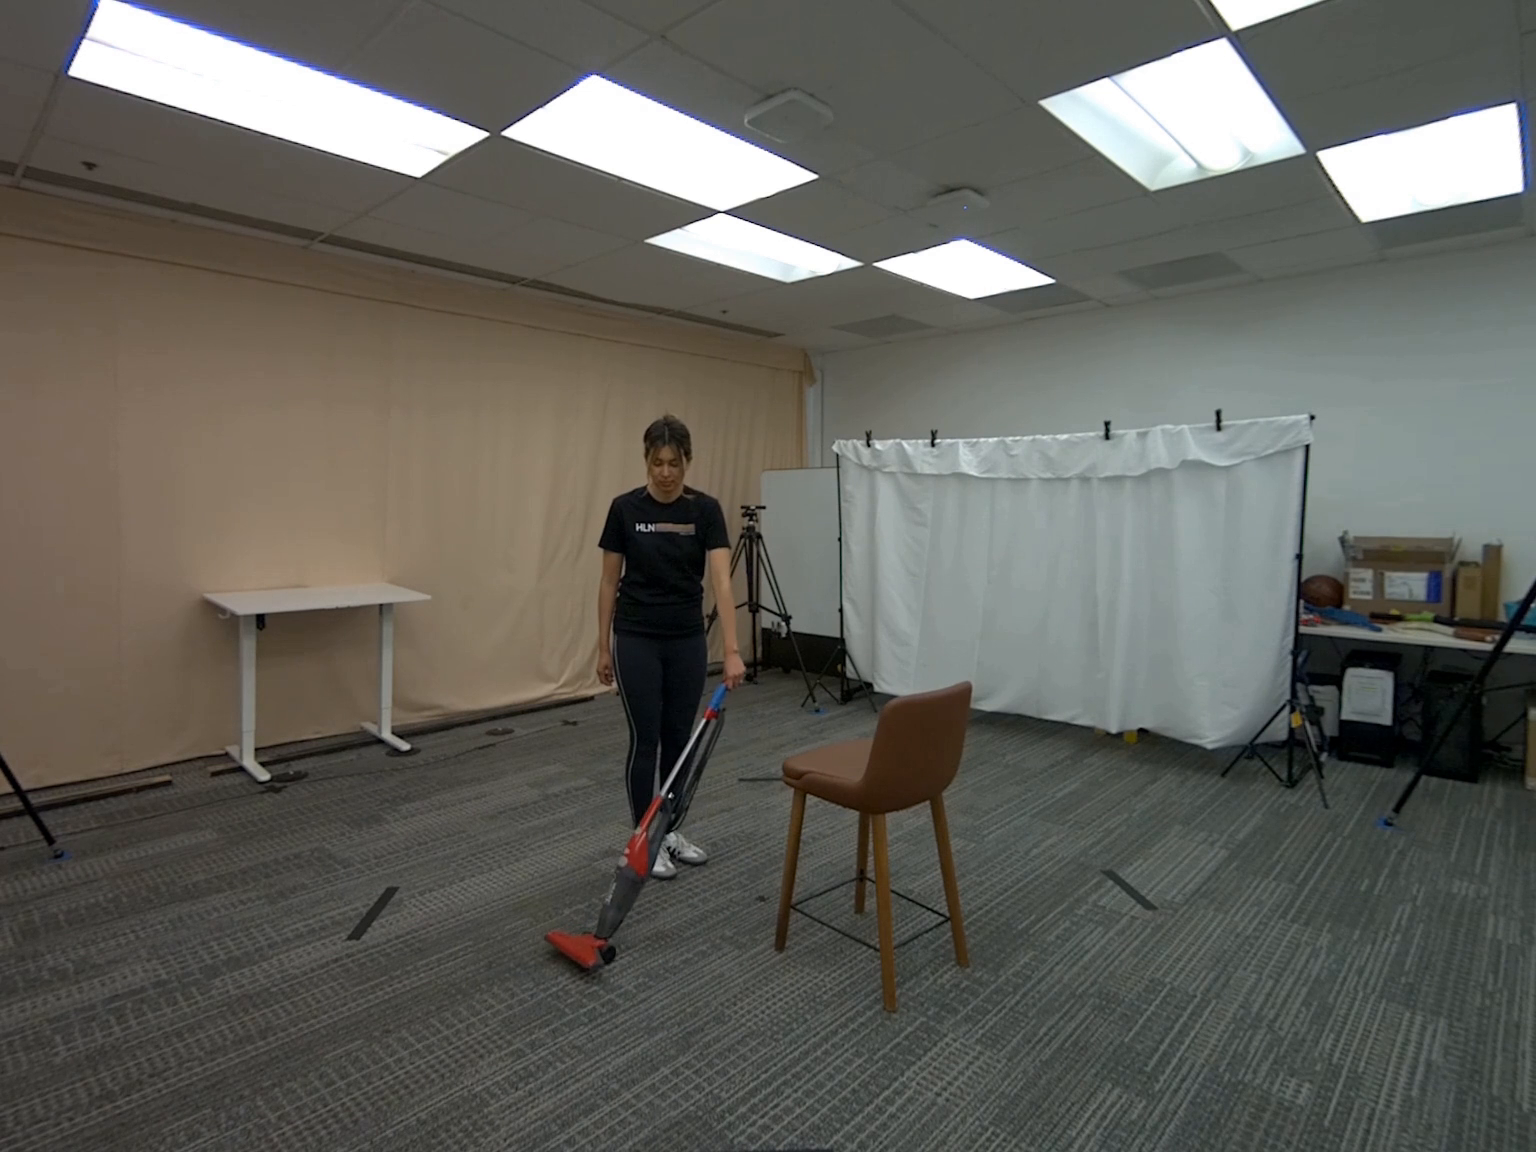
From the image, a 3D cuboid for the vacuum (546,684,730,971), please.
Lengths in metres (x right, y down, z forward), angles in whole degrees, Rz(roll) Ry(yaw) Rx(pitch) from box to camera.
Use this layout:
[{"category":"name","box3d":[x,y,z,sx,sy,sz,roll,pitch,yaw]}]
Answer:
[{"category":"vacuum","box3d":[-0.314,0.751,2.805,0.261,1.048,0.139,5,-36,43]}]
